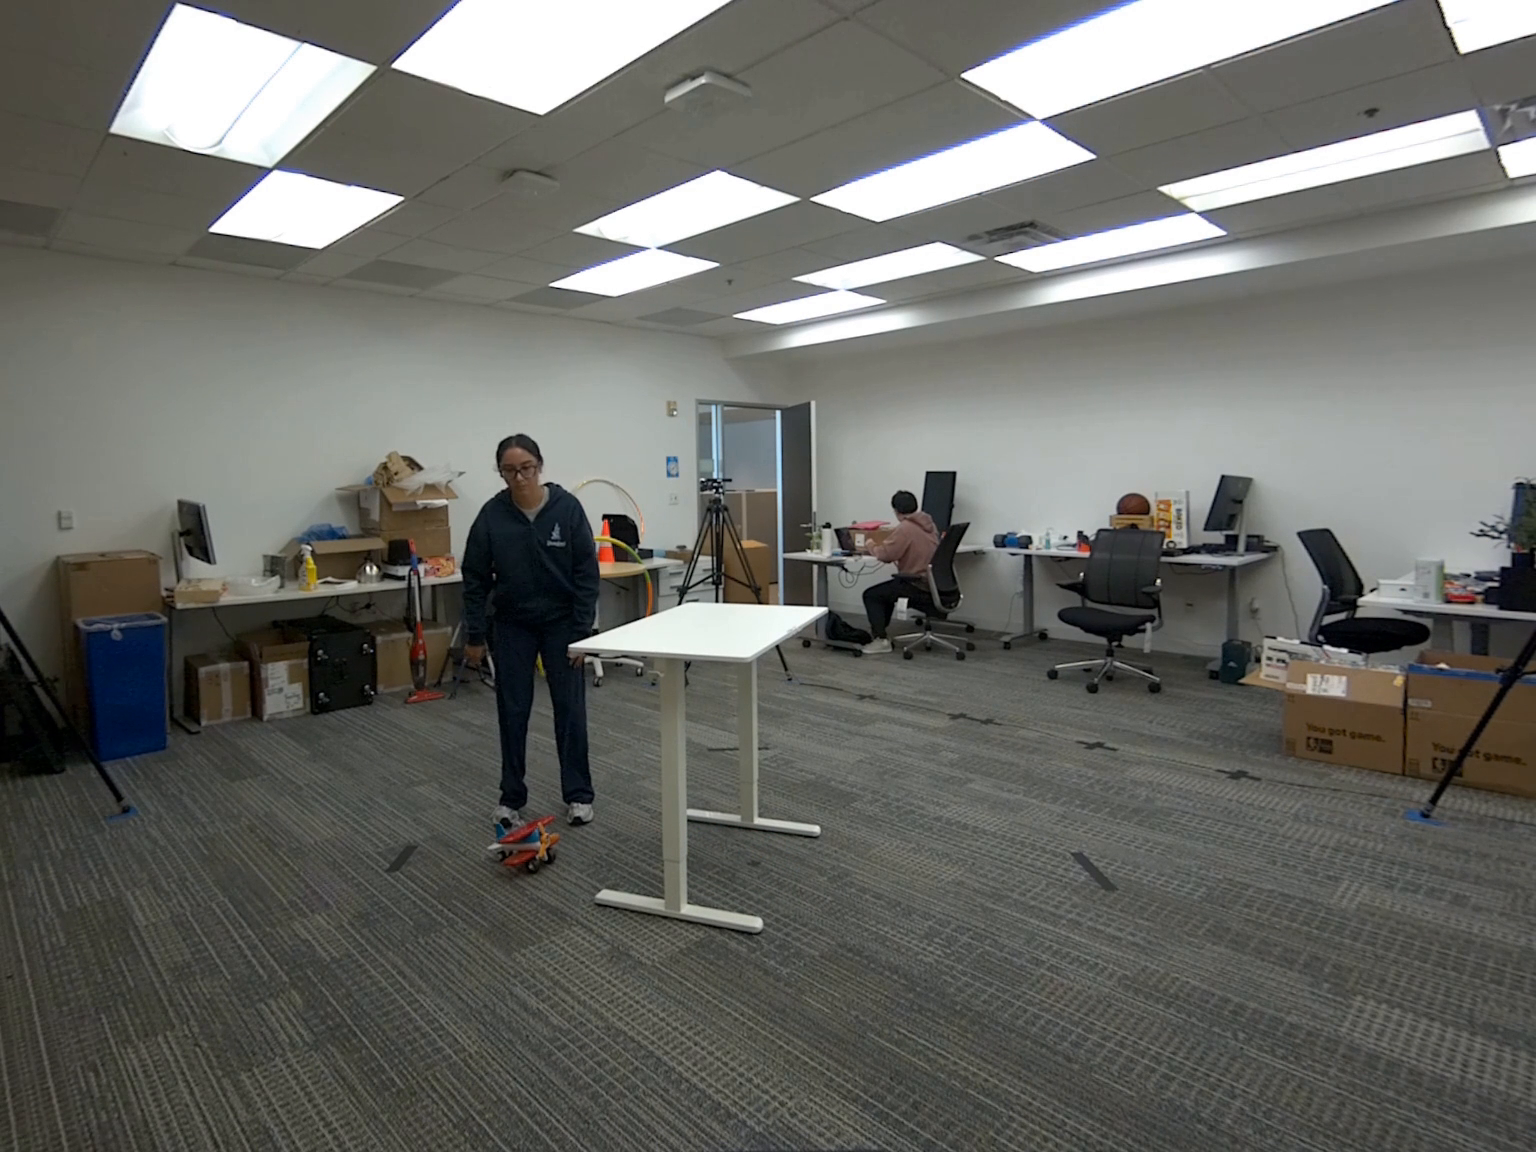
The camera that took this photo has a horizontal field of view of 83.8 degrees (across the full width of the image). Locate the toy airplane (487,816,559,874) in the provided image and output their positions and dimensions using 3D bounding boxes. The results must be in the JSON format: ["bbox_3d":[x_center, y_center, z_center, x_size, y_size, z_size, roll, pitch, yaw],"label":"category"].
[{"bbox_3d":[-0.906,0.988,3.110,0.259,0.156,0.252,-1,4,-2],"label":"toy airplane"}]
